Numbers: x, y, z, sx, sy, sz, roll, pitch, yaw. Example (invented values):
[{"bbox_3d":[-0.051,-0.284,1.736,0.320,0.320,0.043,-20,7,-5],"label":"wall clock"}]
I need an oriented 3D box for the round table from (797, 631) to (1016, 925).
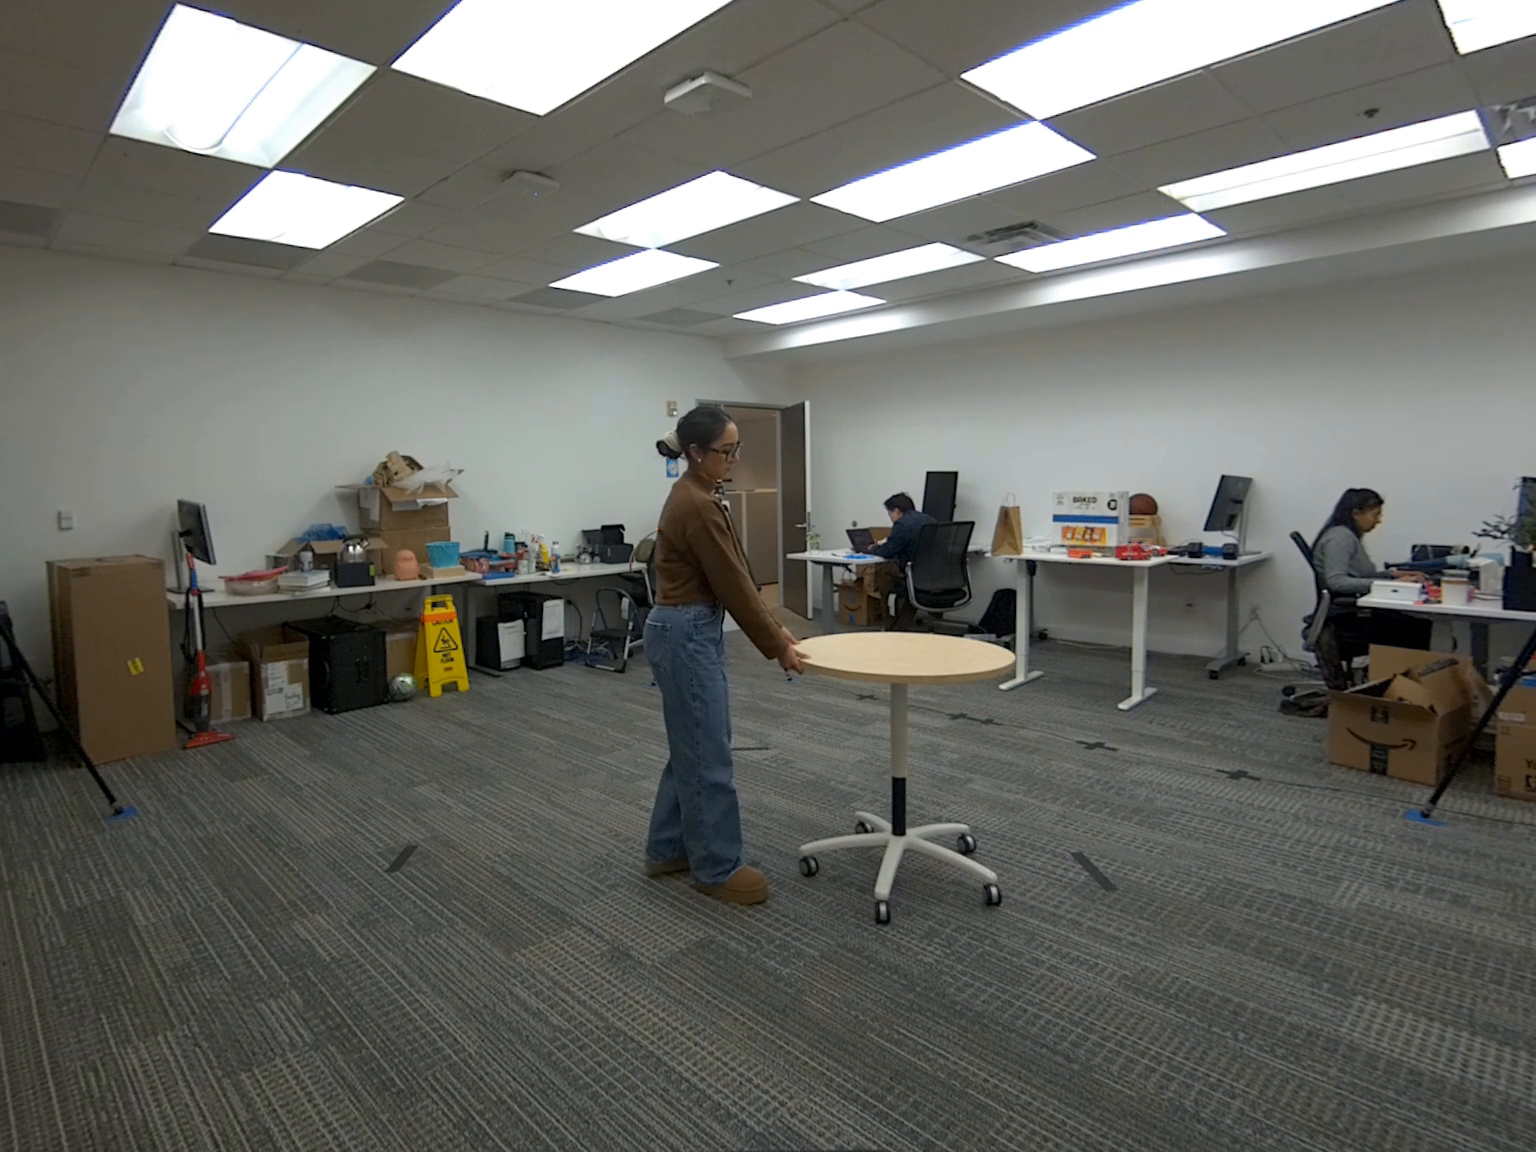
[{"bbox_3d":[0.447,0.652,2.972,0.784,0.784,0.789,-1,5,-2],"label":"round table"}]
